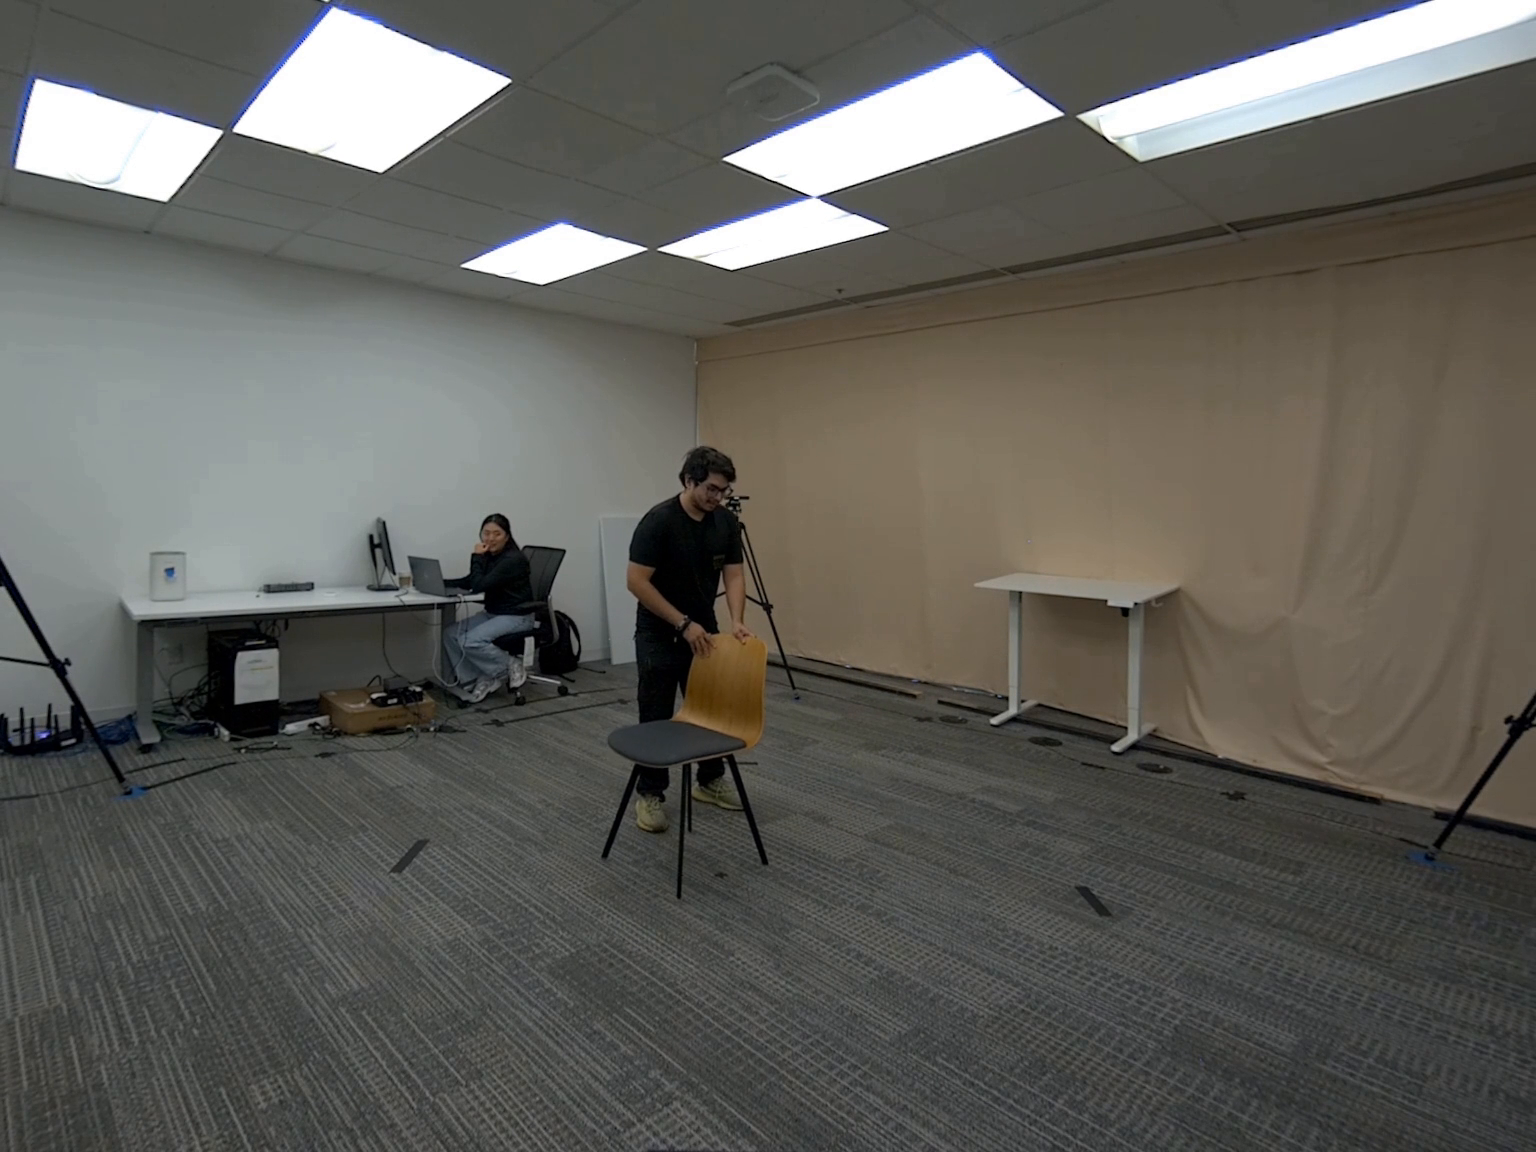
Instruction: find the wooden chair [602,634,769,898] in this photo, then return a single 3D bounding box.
[{"bbox_3d":[-0.306,0.663,3.171,0.490,0.878,0.509,4,-2,43],"label":"wooden chair"}]
